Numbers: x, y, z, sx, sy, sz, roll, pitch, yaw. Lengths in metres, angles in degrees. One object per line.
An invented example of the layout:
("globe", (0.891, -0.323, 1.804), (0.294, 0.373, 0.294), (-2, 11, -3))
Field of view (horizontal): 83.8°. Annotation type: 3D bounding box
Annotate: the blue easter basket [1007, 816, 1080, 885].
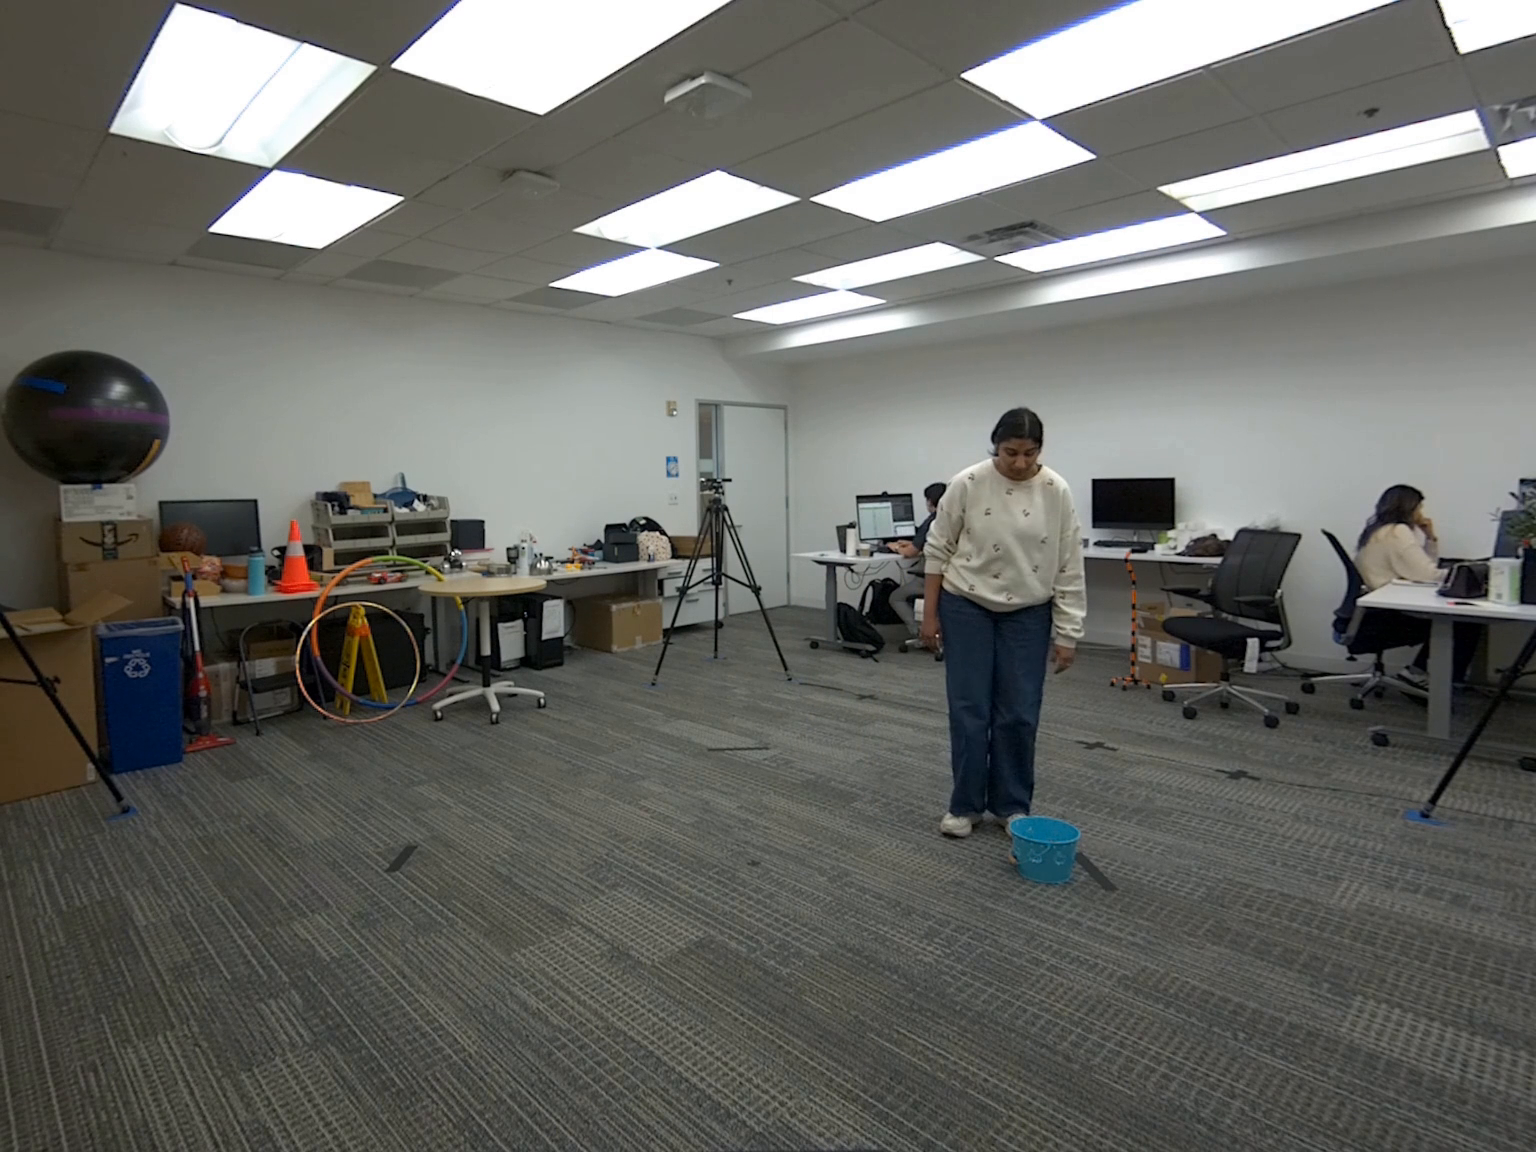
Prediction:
("blue easter basket", (0.967, 0.966, 2.991), (0.243, 0.155, 0.245), (-2, 5, -2))
